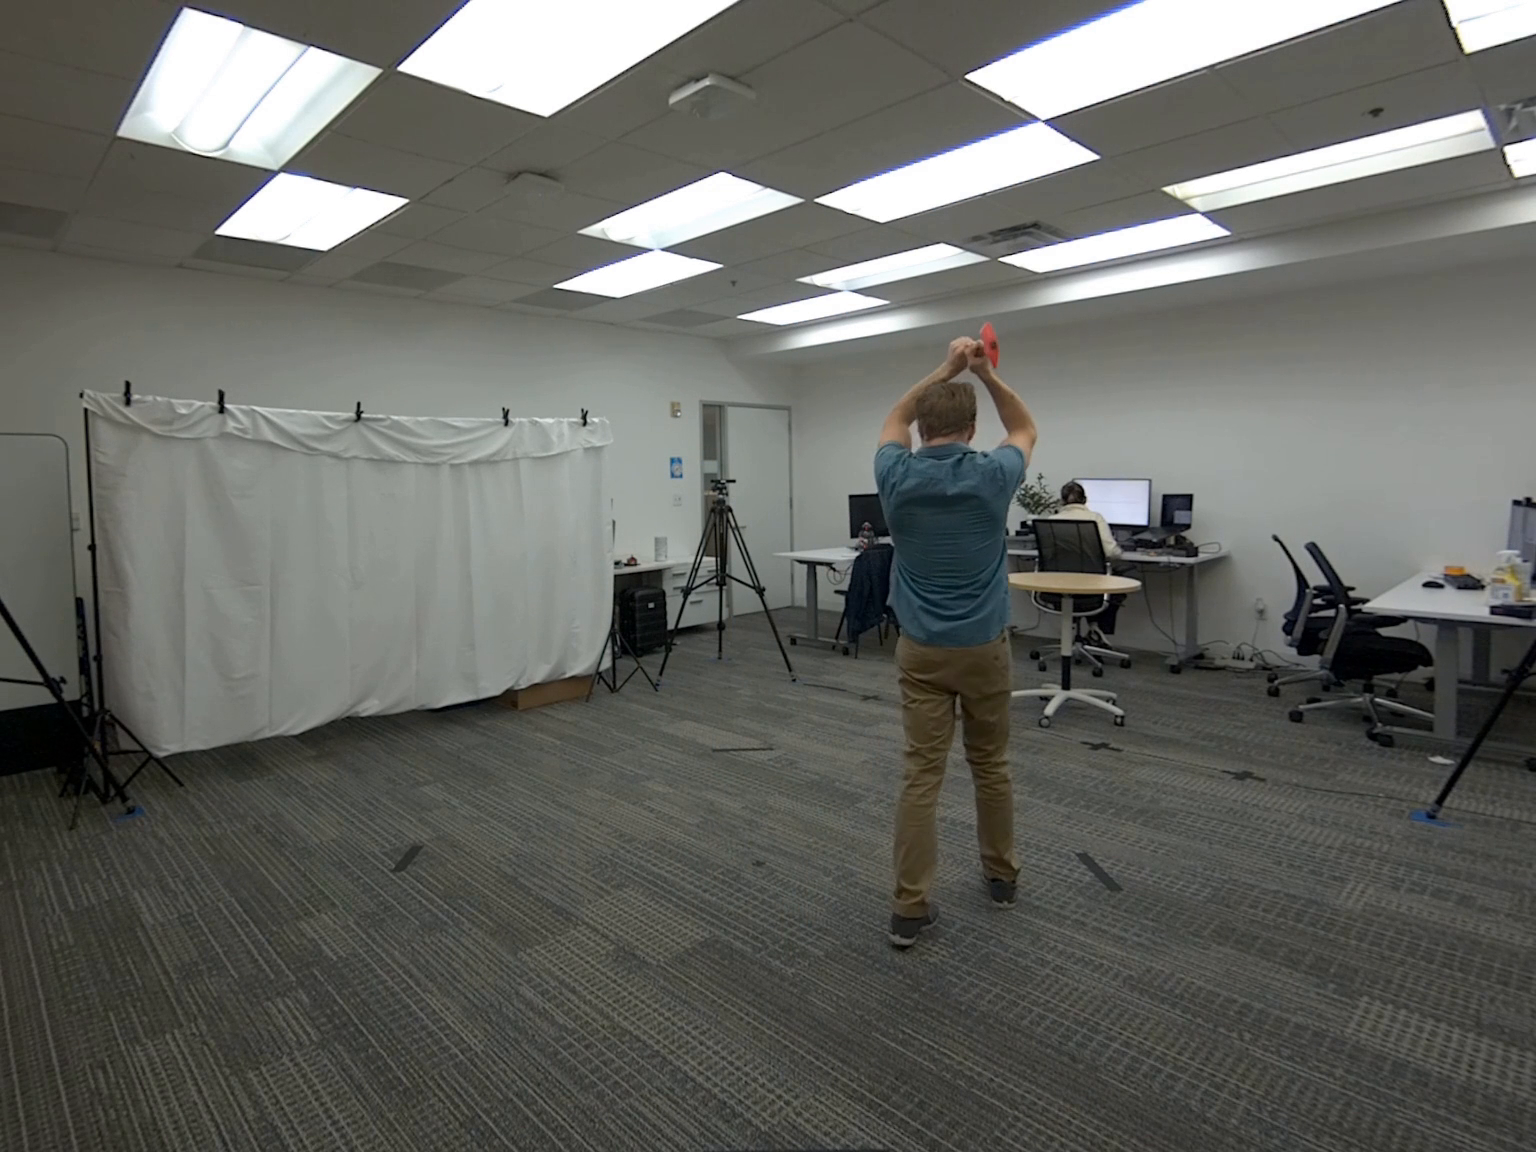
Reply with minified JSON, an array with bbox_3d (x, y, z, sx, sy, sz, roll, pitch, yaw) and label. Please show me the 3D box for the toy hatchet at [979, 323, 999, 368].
[{"bbox_3d":[0.651,-0.719,2.595,0.030,0.128,0.275,-10,23,4],"label":"toy hatchet"}]
